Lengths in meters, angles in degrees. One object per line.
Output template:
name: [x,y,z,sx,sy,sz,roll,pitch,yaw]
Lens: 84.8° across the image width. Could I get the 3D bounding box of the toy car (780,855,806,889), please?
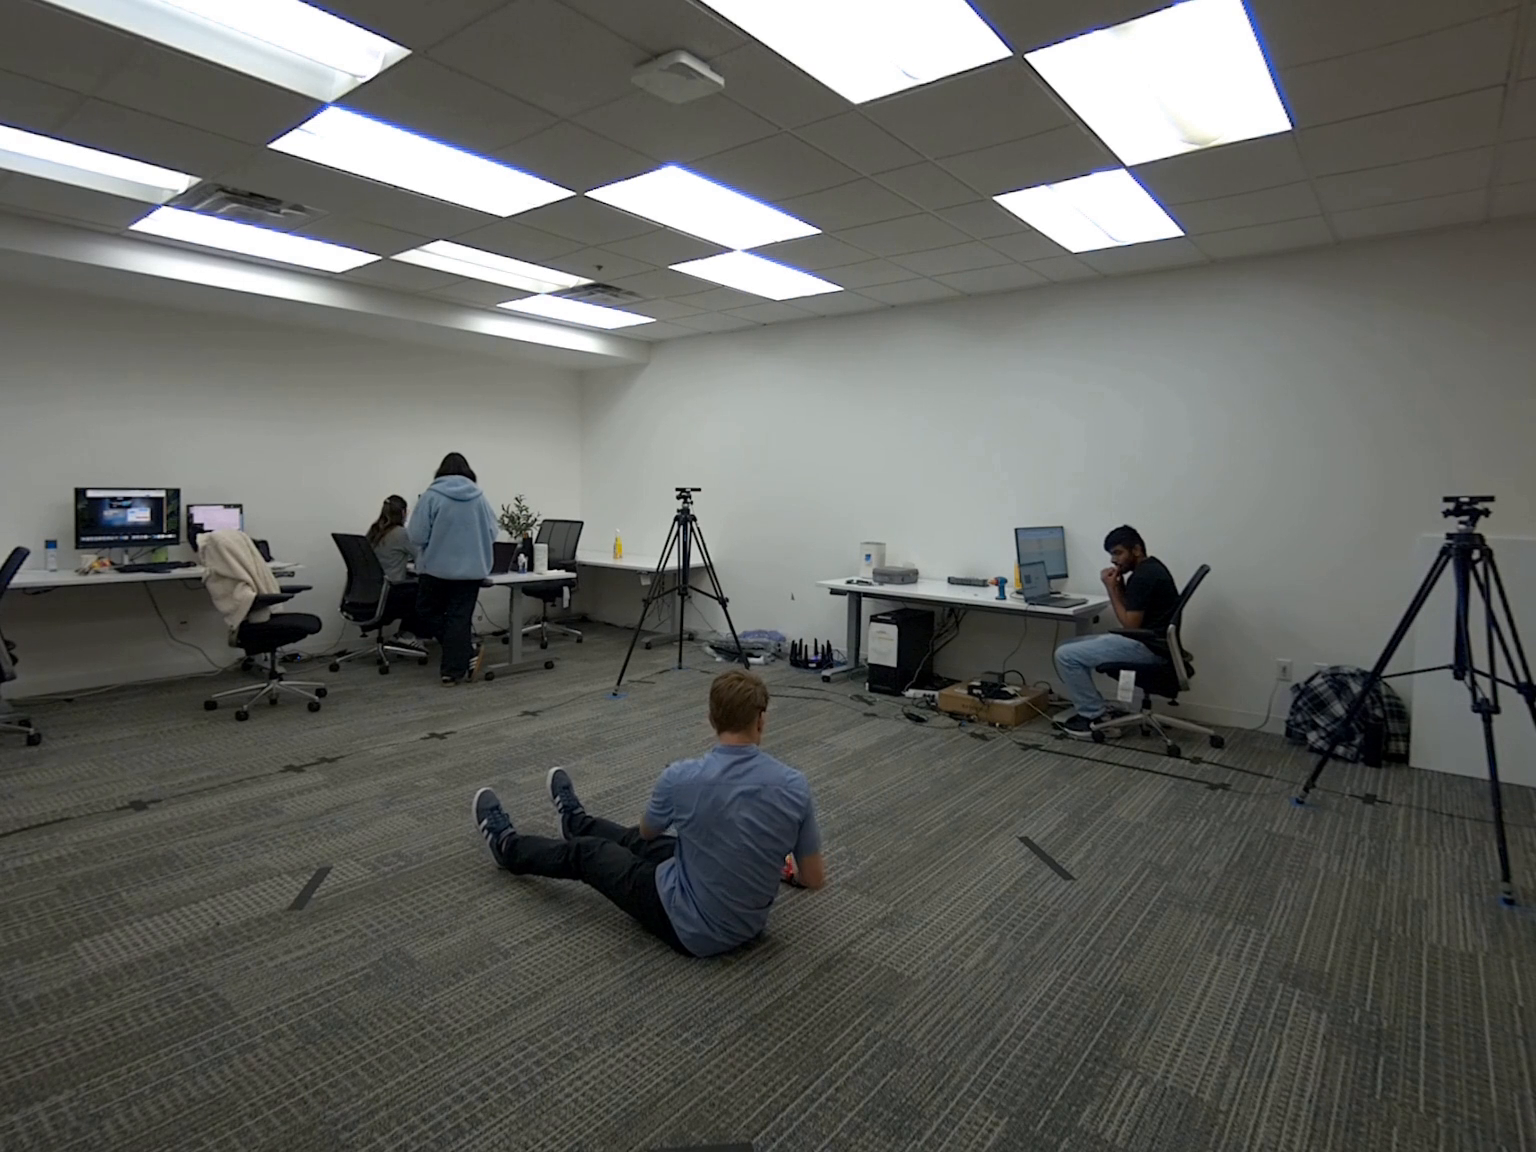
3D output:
toy car: [0.075,1.047,3.045,0.260,0.083,0.127,-8,0,24]
